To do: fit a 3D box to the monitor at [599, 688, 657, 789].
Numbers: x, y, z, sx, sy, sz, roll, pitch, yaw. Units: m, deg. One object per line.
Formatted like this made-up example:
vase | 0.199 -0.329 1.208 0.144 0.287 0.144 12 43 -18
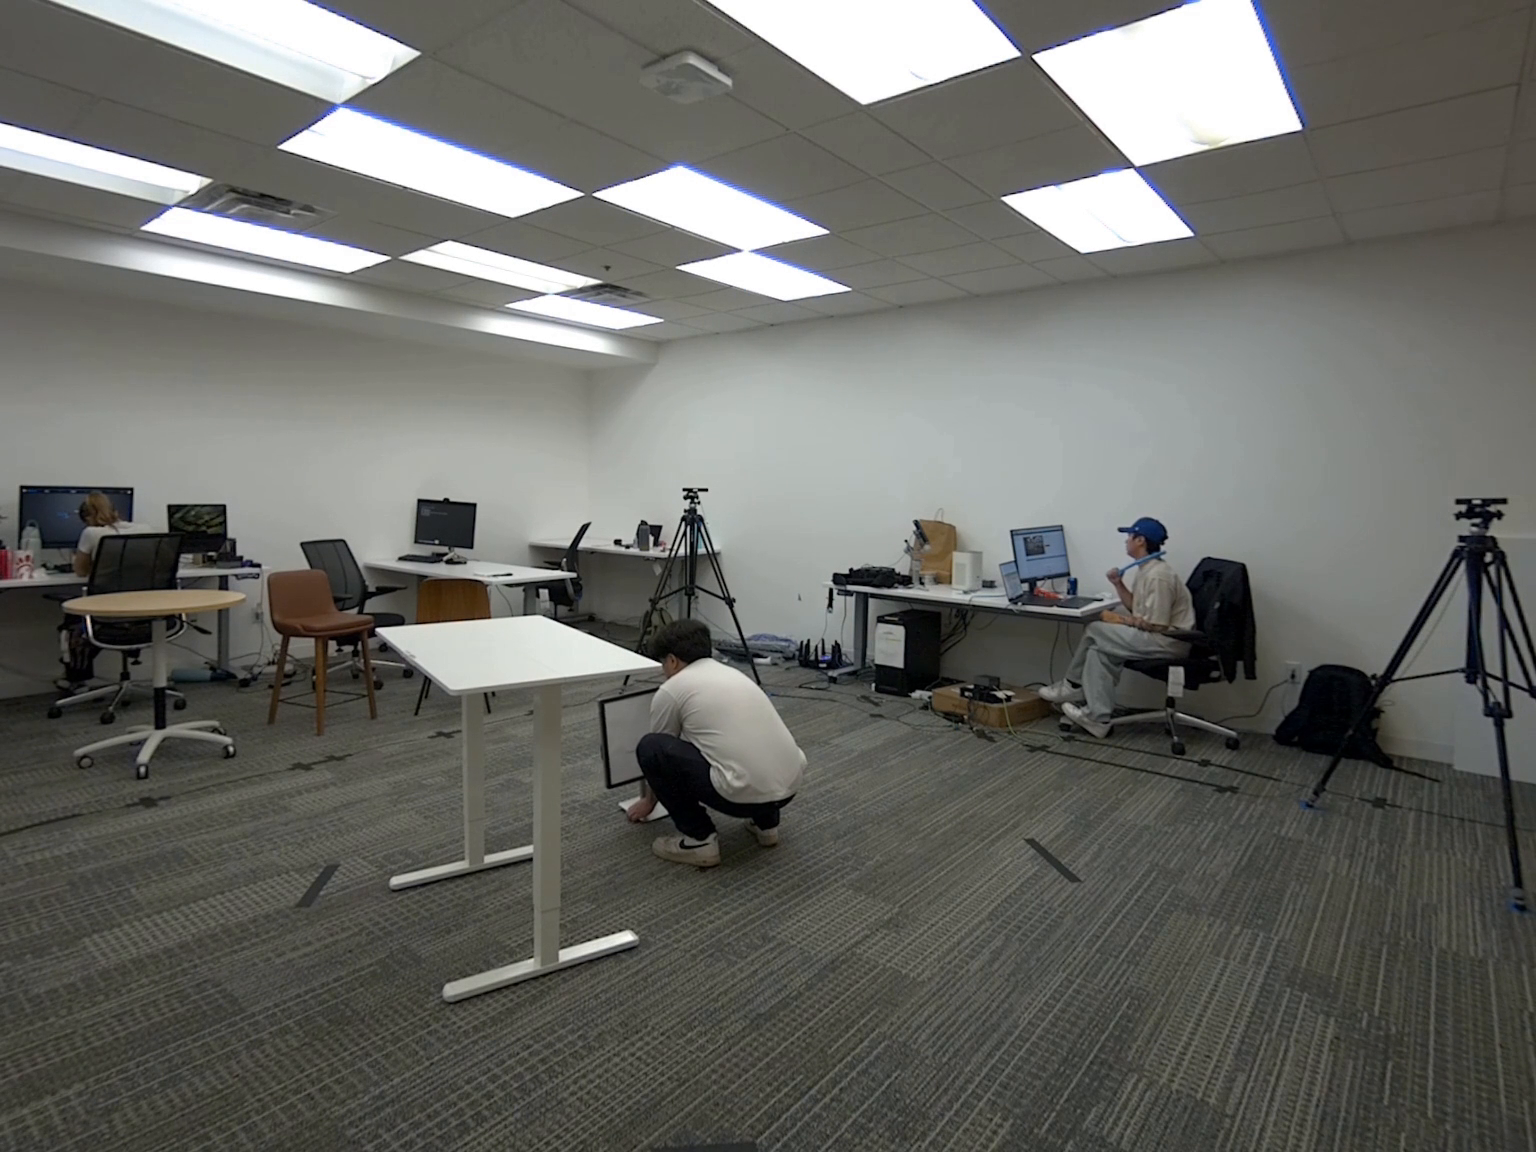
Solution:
monitor | -0.515 0.733 3.664 0.550 0.551 0.217 -8 7 -41
